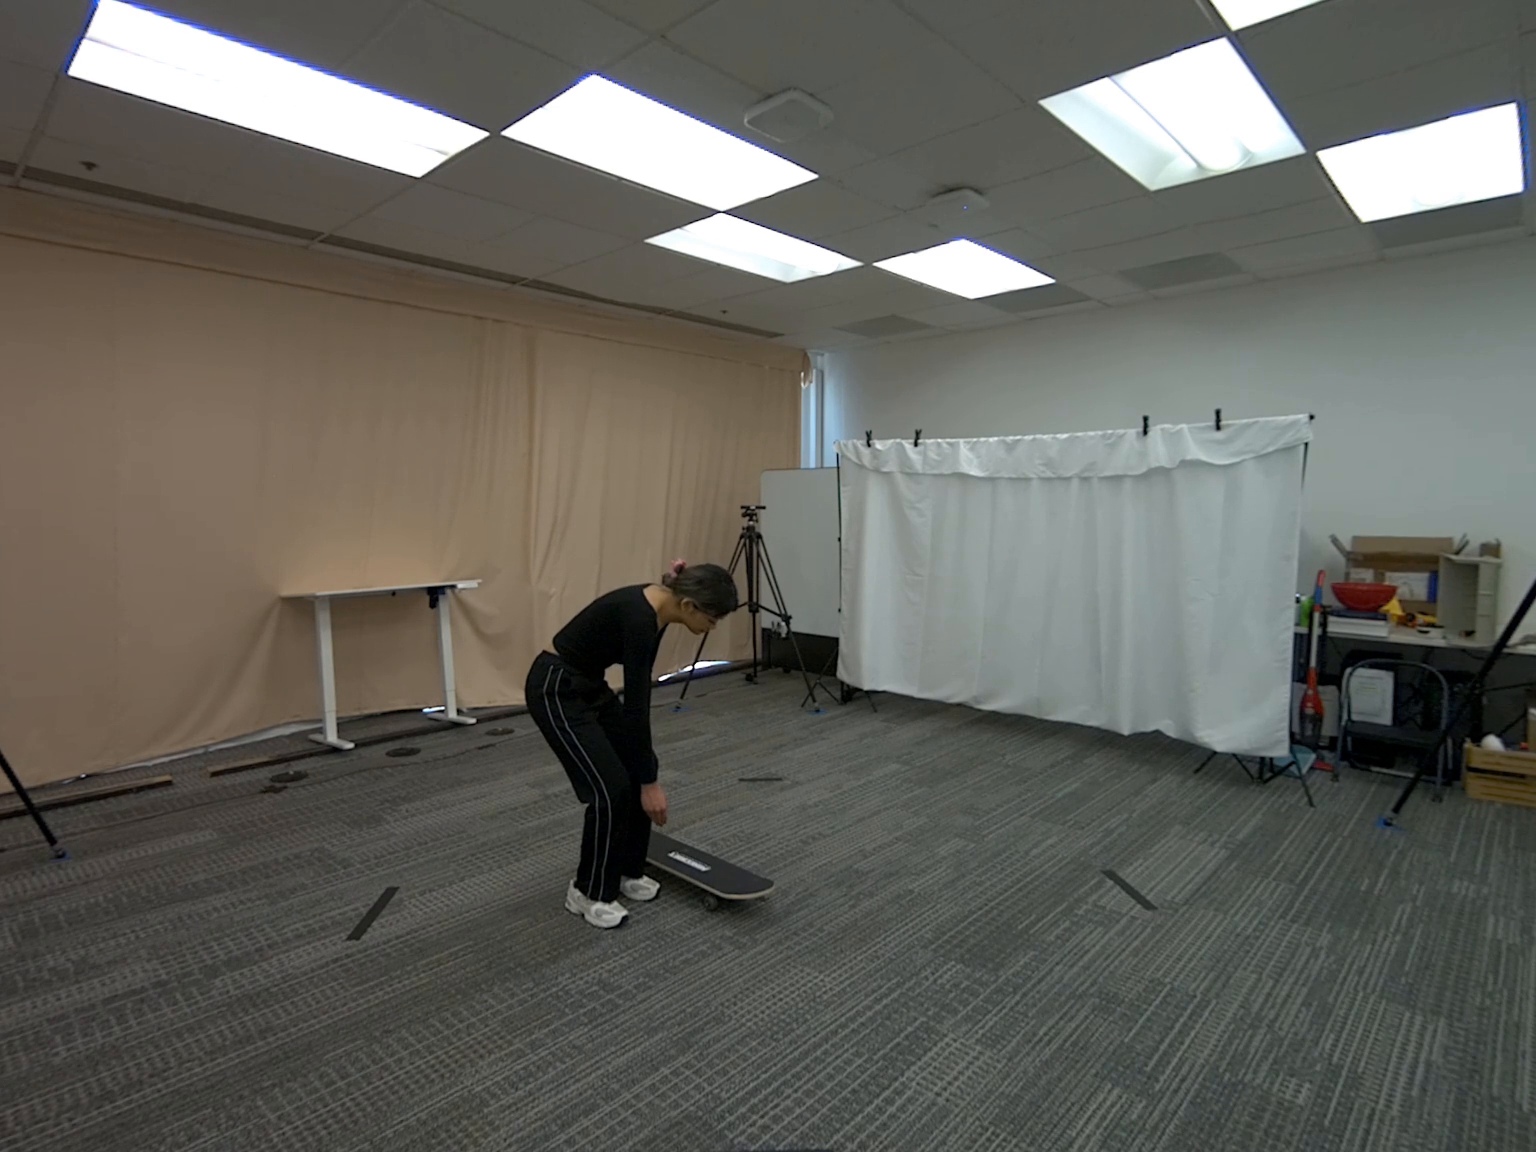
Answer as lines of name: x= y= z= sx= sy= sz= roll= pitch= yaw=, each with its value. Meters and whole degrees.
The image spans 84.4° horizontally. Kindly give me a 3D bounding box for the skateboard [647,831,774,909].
skateboard: x=-0.291 y=1.082 z=3.098 sx=0.812 sy=0.110 sz=0.187 roll=4 pitch=5 yaw=44
